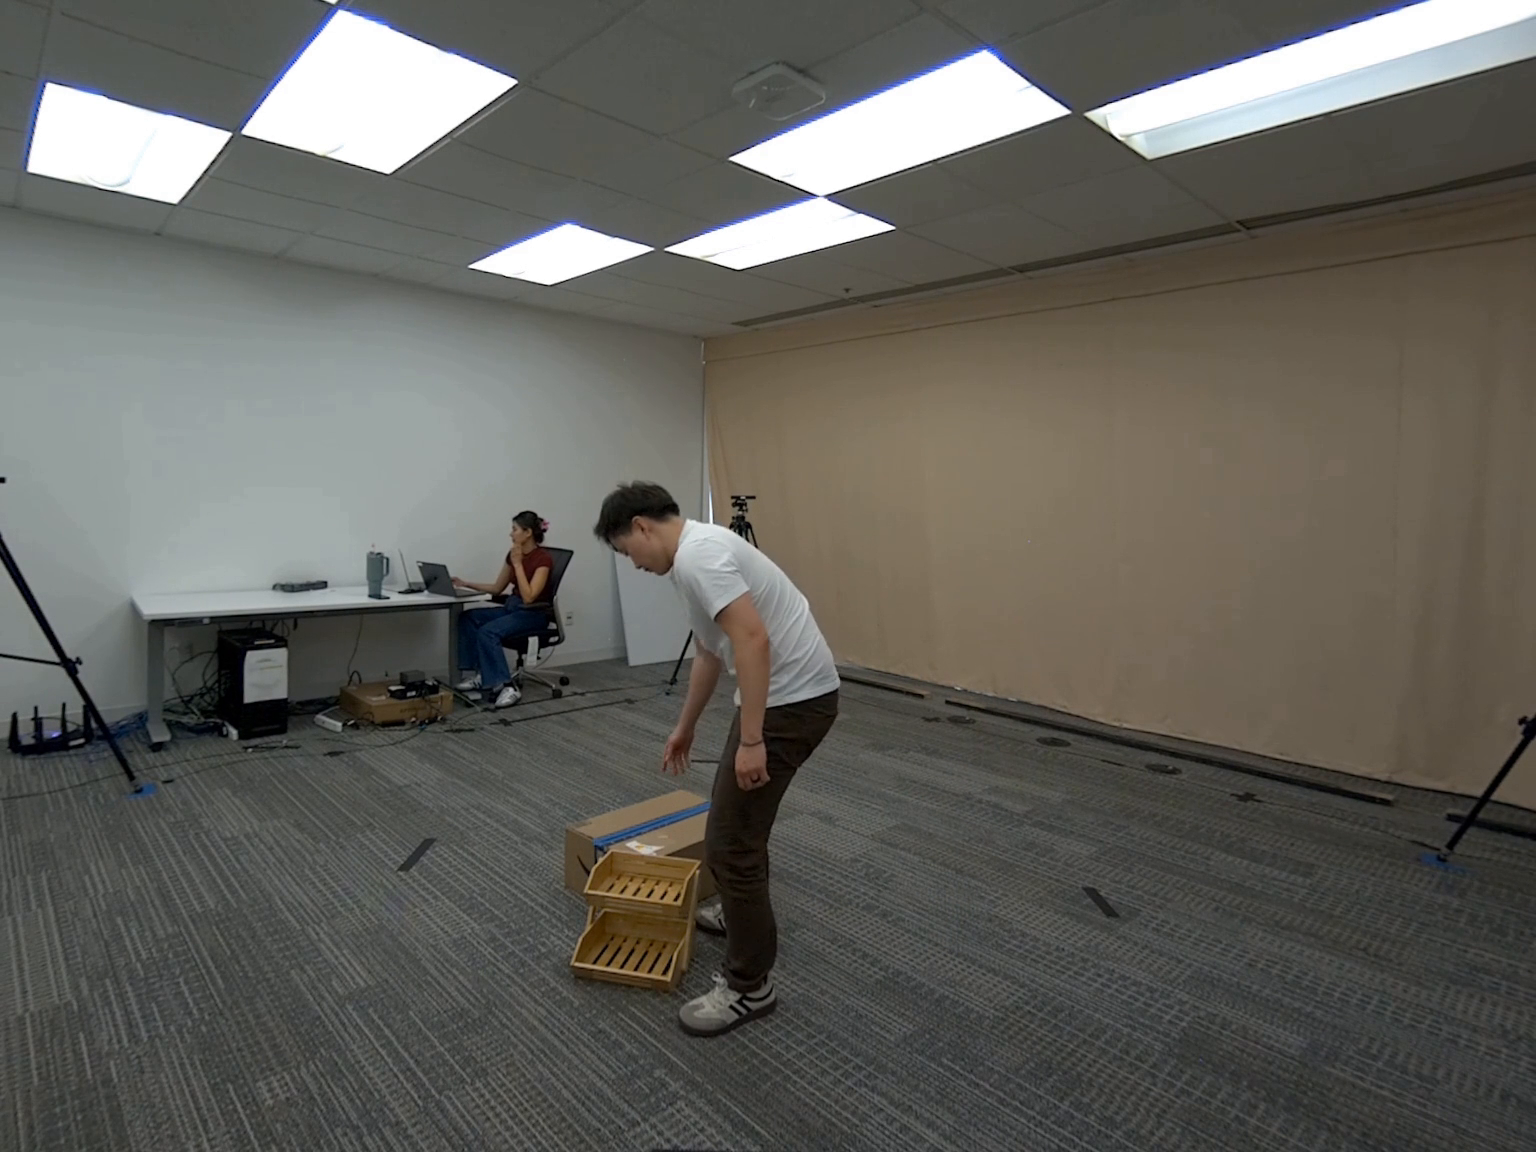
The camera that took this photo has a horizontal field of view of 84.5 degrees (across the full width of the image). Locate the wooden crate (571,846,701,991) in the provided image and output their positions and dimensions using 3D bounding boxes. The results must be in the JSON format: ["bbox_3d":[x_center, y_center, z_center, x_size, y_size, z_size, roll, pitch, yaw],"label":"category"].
[{"bbox_3d":[-0.396,1.024,2.492,0.328,0.273,0.299,2,3,12],"label":"wooden crate"}]
